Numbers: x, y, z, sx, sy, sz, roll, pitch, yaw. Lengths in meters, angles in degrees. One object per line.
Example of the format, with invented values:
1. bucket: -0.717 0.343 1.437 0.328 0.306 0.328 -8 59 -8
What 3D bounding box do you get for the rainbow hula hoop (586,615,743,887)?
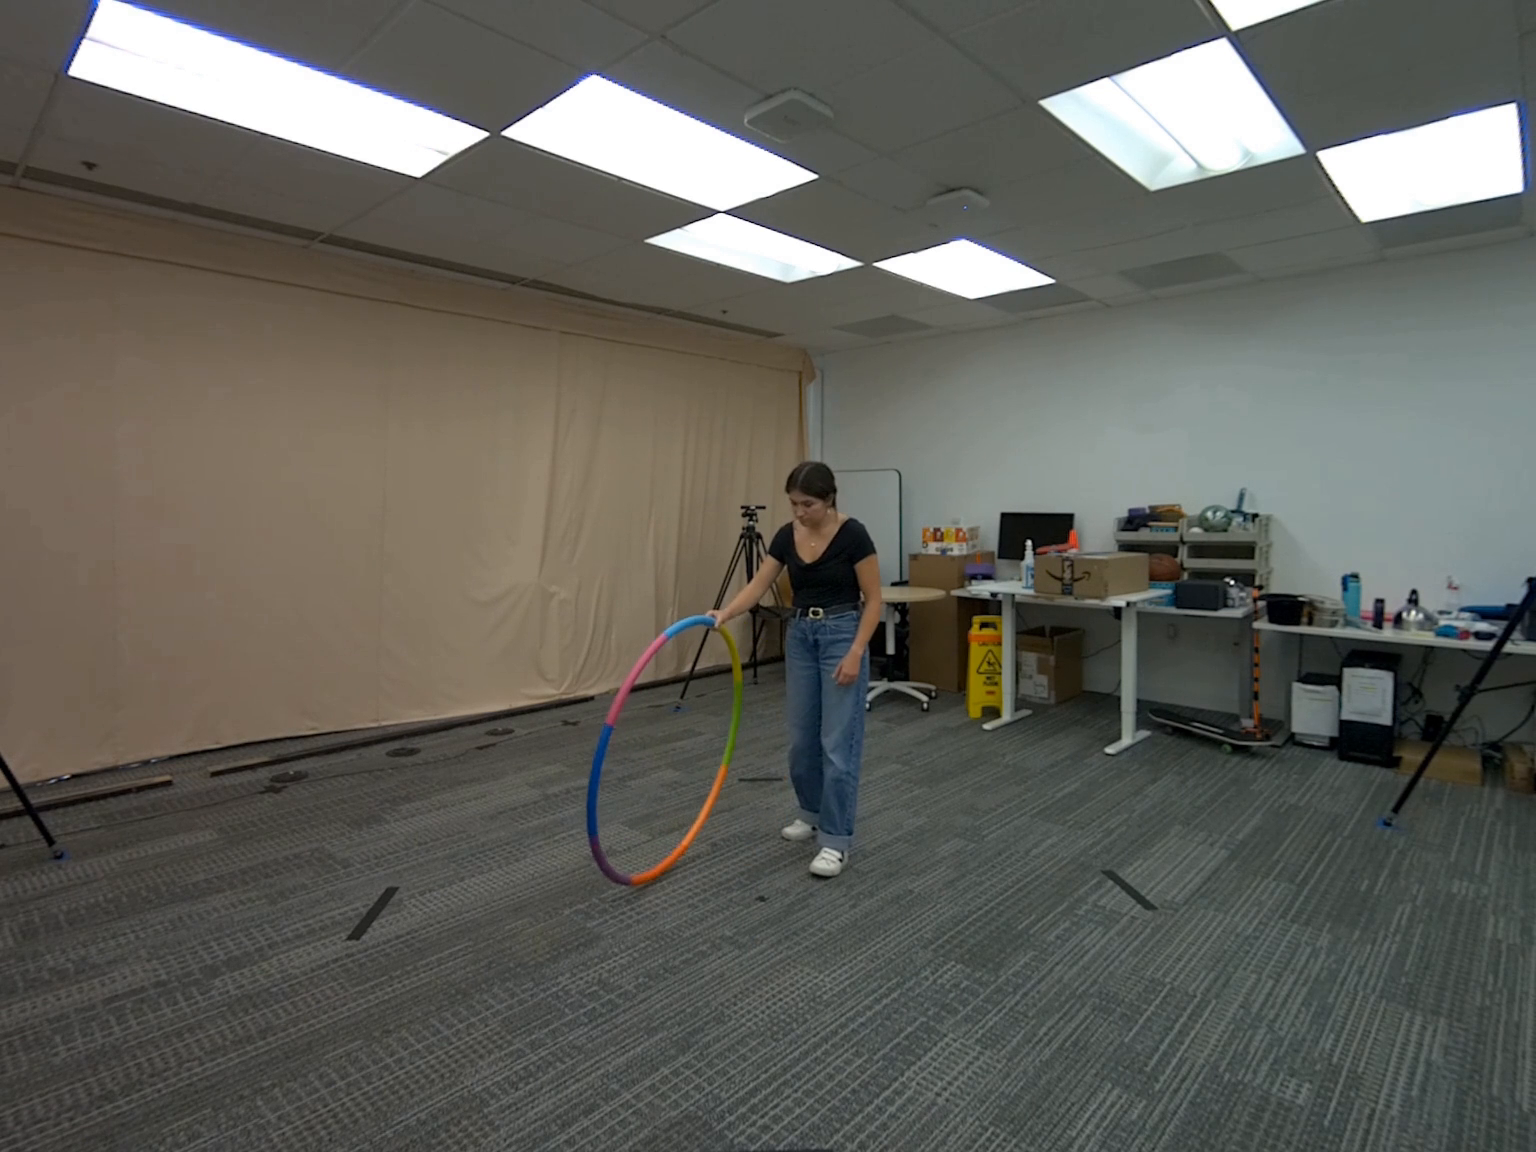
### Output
1. rainbow hula hoop: -0.331 0.641 3.081 0.036 0.975 0.954 13 9 26
